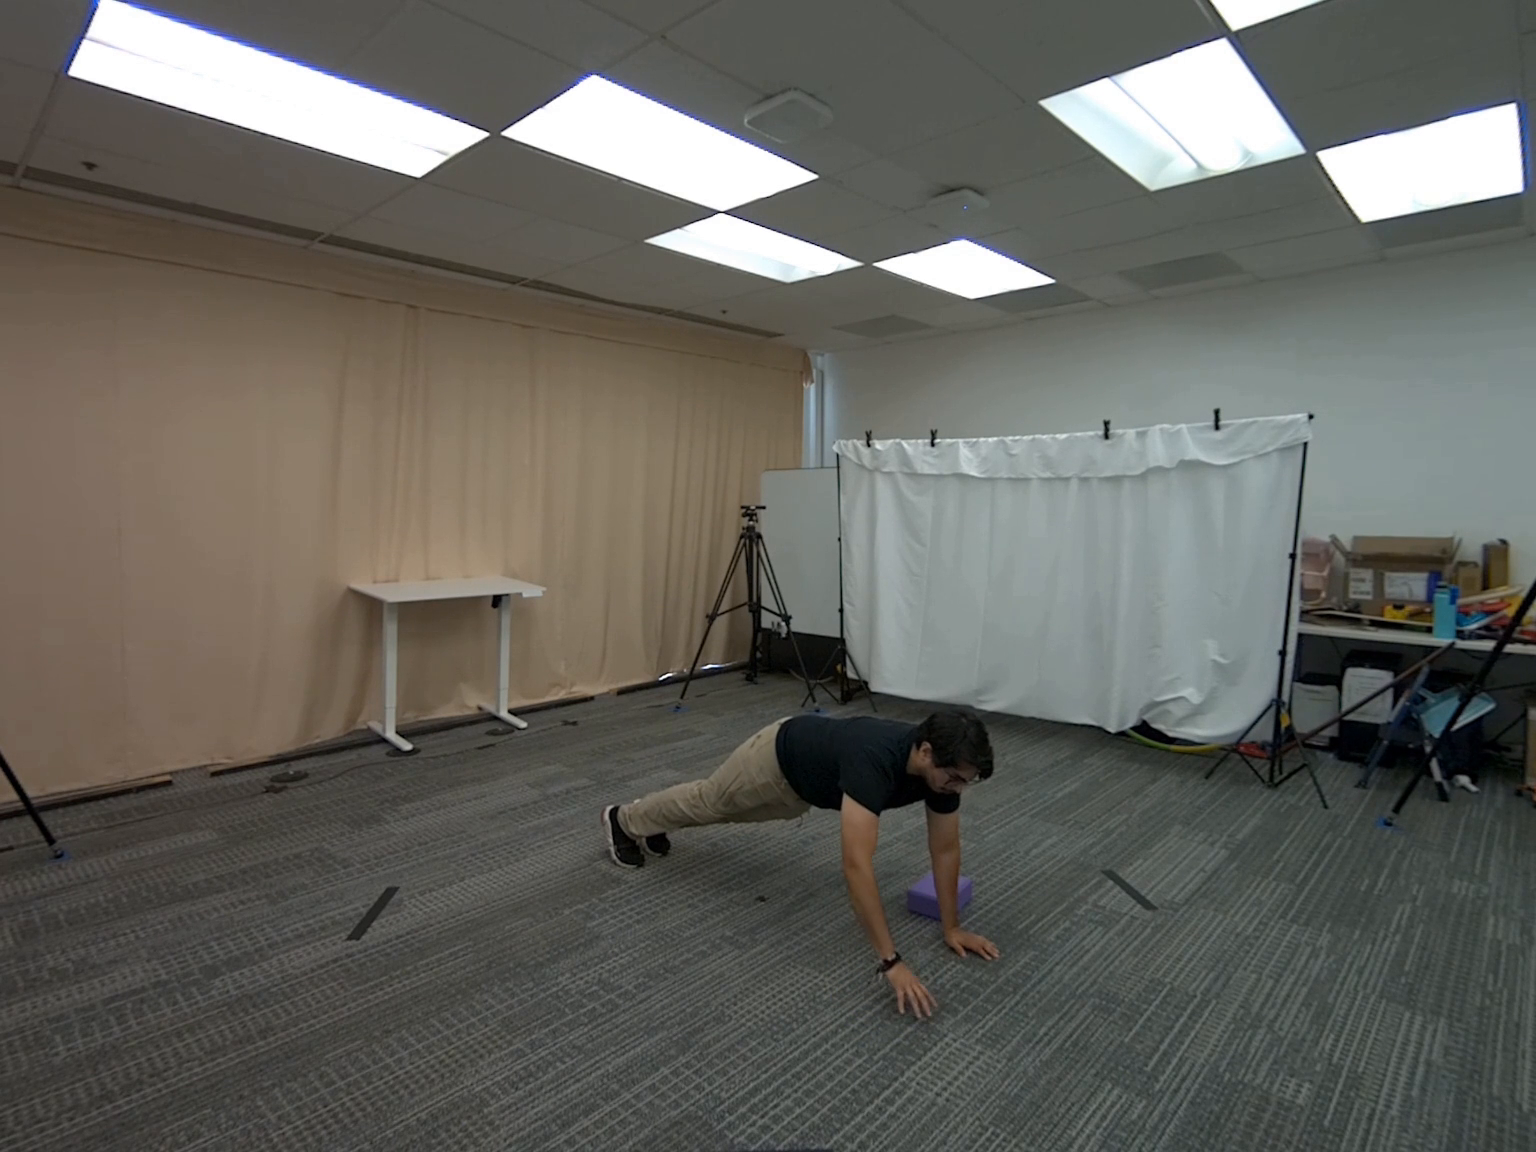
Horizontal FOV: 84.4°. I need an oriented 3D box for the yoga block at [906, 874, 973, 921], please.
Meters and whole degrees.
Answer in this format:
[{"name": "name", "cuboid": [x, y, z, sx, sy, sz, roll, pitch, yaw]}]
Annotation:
[{"name": "yoga block", "cuboid": [0.602, 1.104, 2.926, 0.154, 0.076, 0.223, 5, 7, 35]}]
